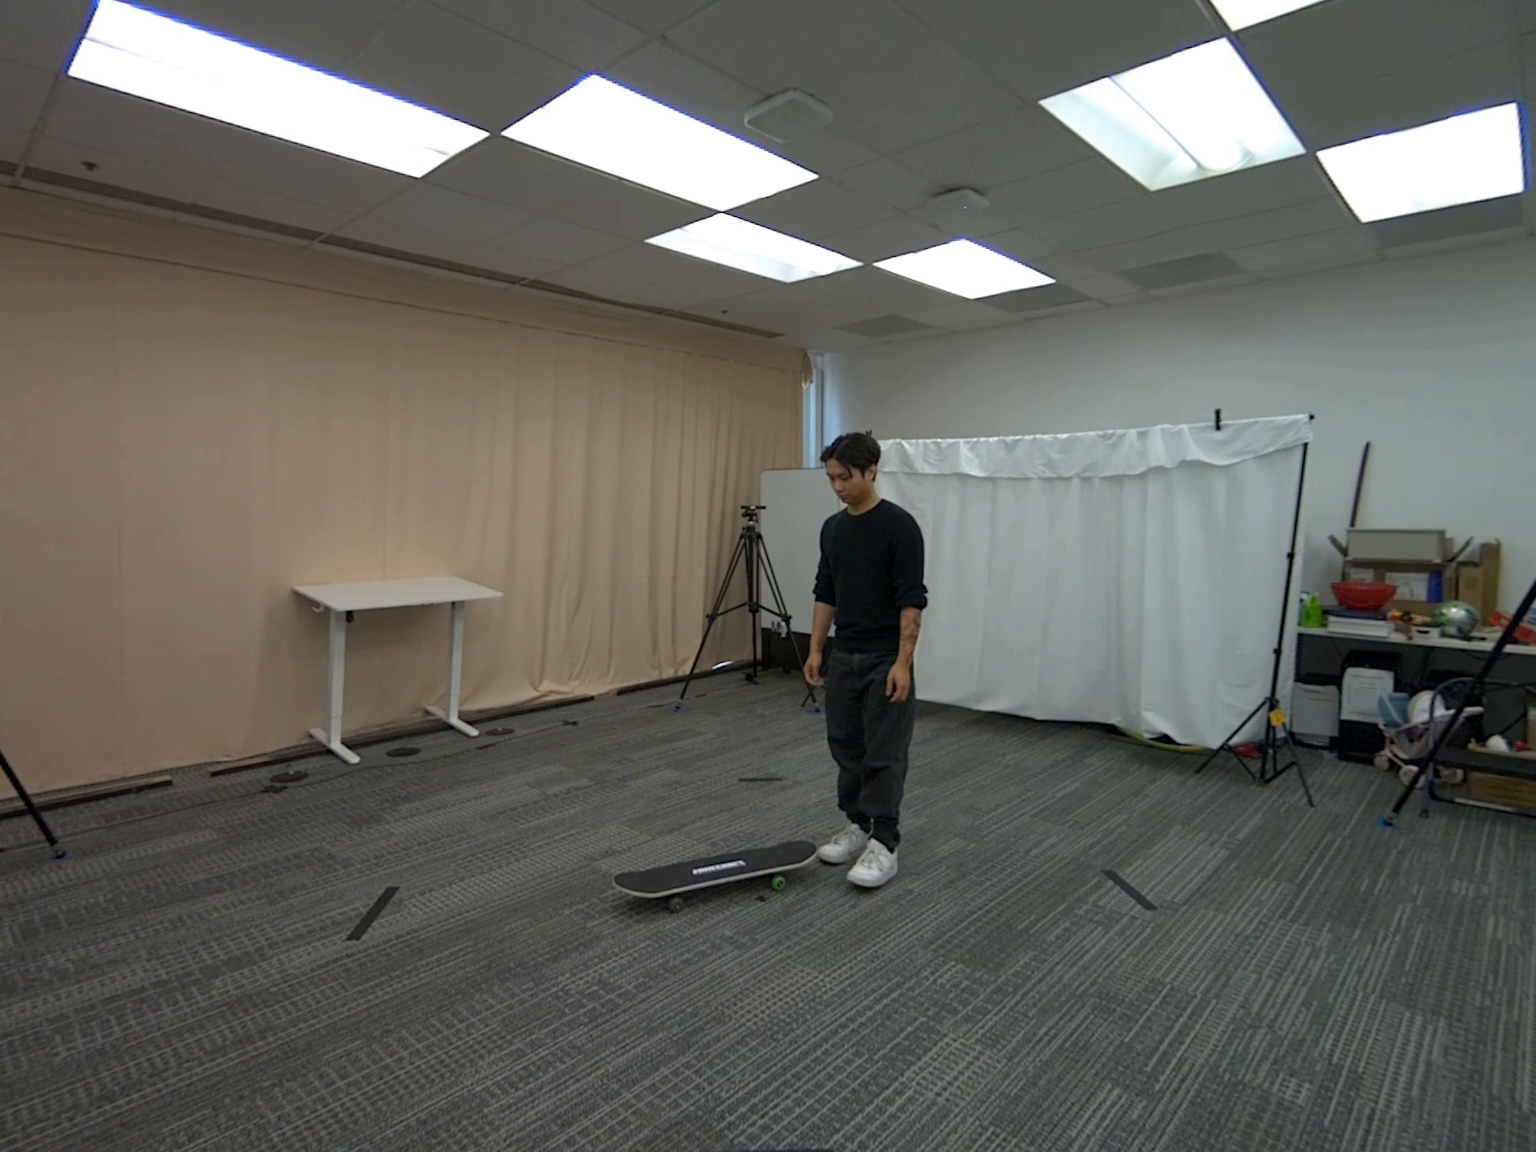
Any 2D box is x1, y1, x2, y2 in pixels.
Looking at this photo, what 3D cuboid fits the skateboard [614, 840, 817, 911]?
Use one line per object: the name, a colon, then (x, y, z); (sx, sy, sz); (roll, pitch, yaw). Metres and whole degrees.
skateboard: (-0.177, 1.083, 3.036); (0.767, 0.110, 0.198); (-2, 5, -24)
